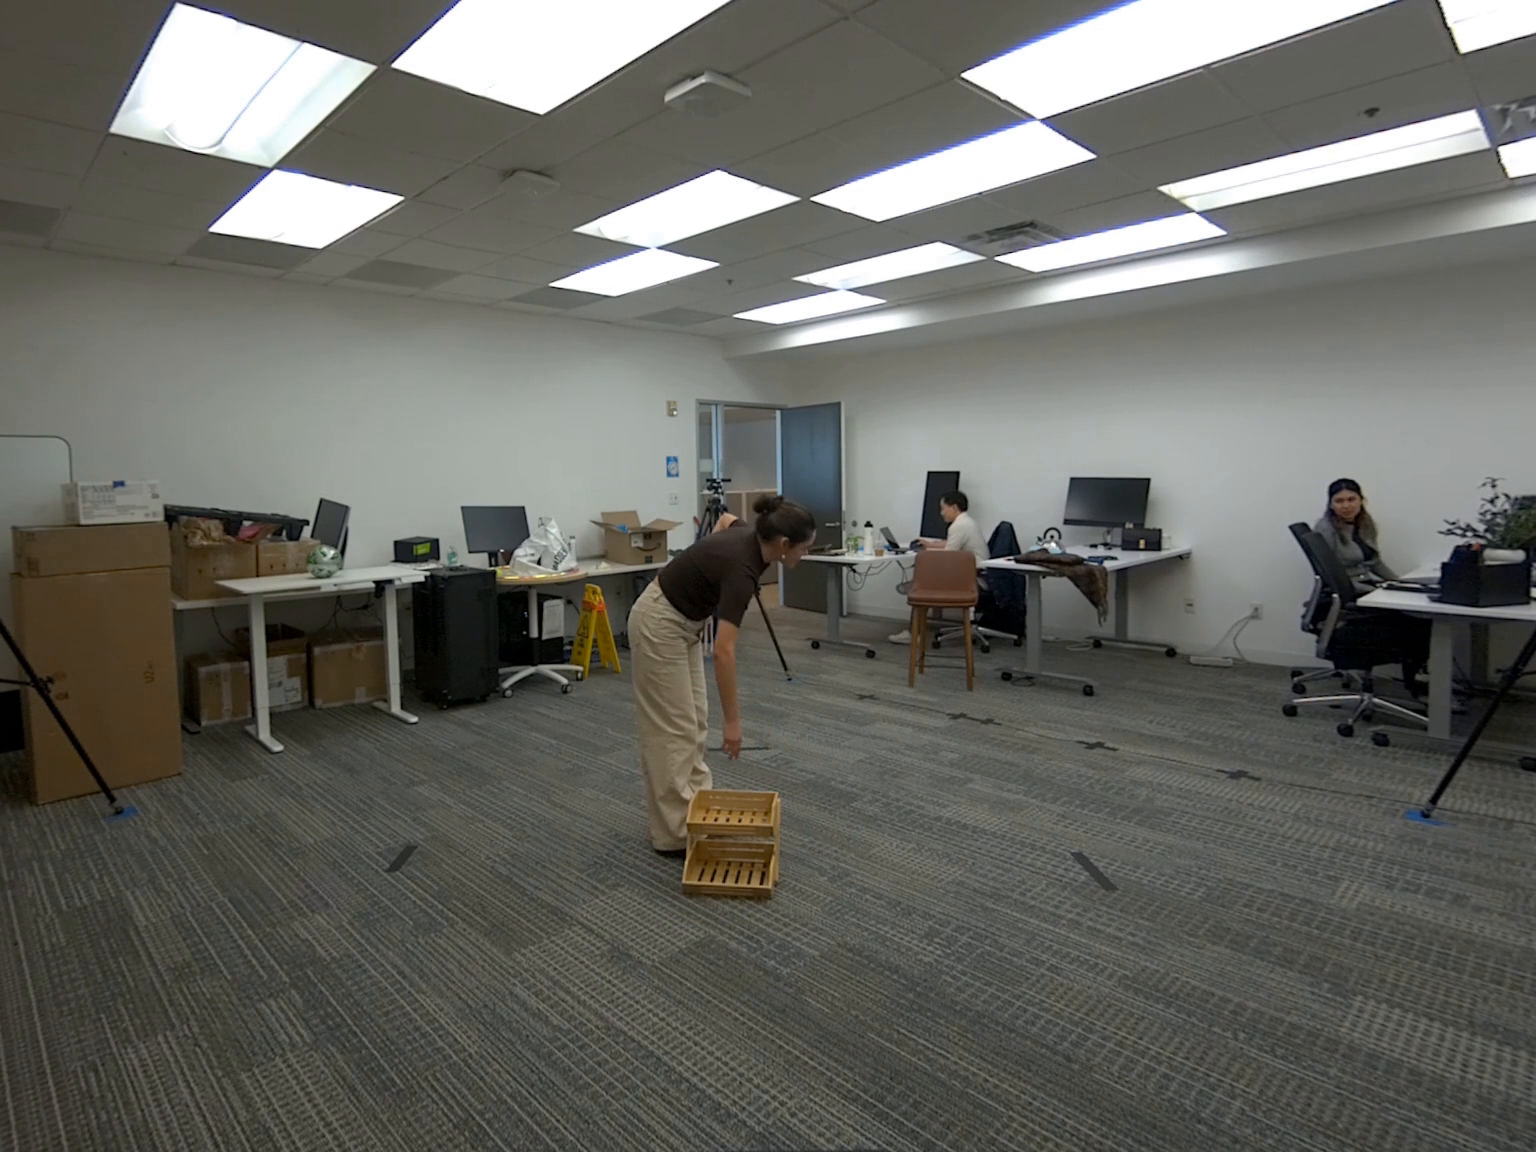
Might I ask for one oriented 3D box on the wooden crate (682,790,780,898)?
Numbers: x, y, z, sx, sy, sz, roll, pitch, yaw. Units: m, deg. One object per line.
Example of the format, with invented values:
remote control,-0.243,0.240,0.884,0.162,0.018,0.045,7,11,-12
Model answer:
wooden crate,-0.115,0.930,2.973,0.326,0.272,0.301,-1,4,6
